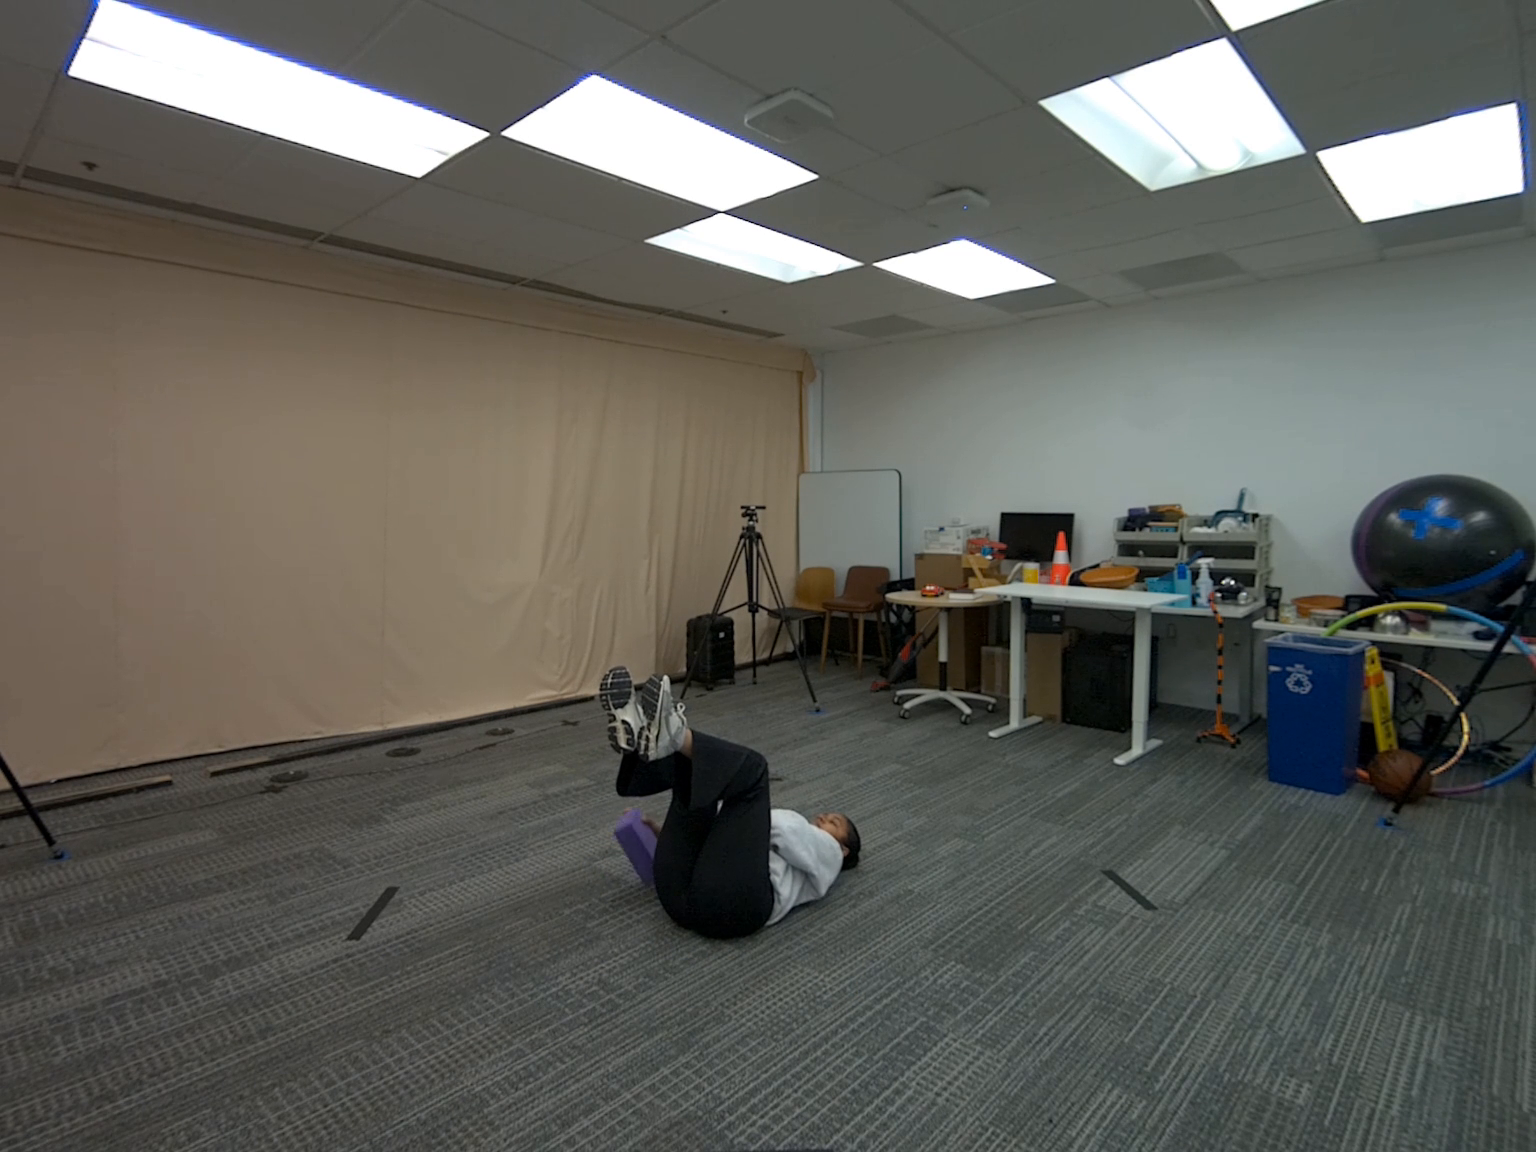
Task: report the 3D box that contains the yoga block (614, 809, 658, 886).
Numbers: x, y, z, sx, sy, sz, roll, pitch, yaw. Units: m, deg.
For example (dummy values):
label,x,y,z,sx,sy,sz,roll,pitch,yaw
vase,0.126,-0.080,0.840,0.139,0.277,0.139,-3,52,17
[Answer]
label,x,y,z,sx,sy,sz,roll,pitch,yaw
yoga block,-0.425,0.957,3.034,0.077,0.229,0.148,-28,3,8
